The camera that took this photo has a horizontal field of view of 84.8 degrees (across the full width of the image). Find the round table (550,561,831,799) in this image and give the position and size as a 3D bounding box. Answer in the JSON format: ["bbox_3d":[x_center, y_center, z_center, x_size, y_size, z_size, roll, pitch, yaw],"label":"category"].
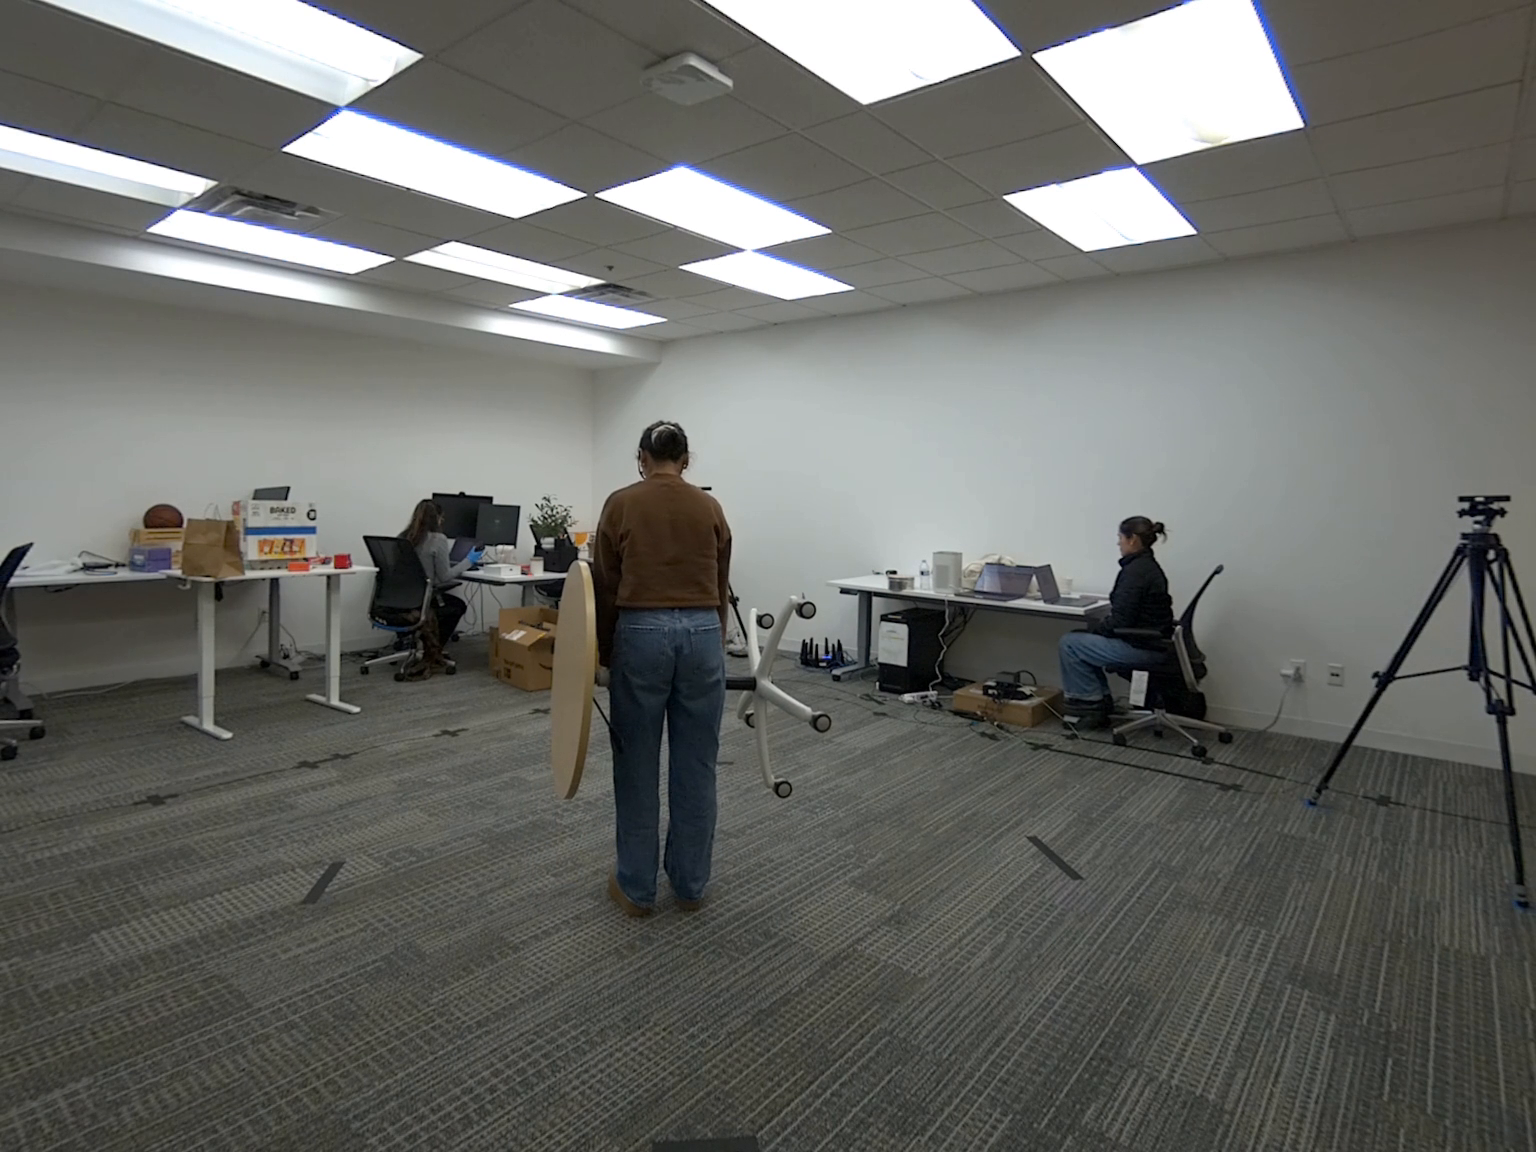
[{"bbox_3d":[-0.296,0.367,2.902,0.778,0.763,0.781,6,2,-20],"label":"round table"}]
